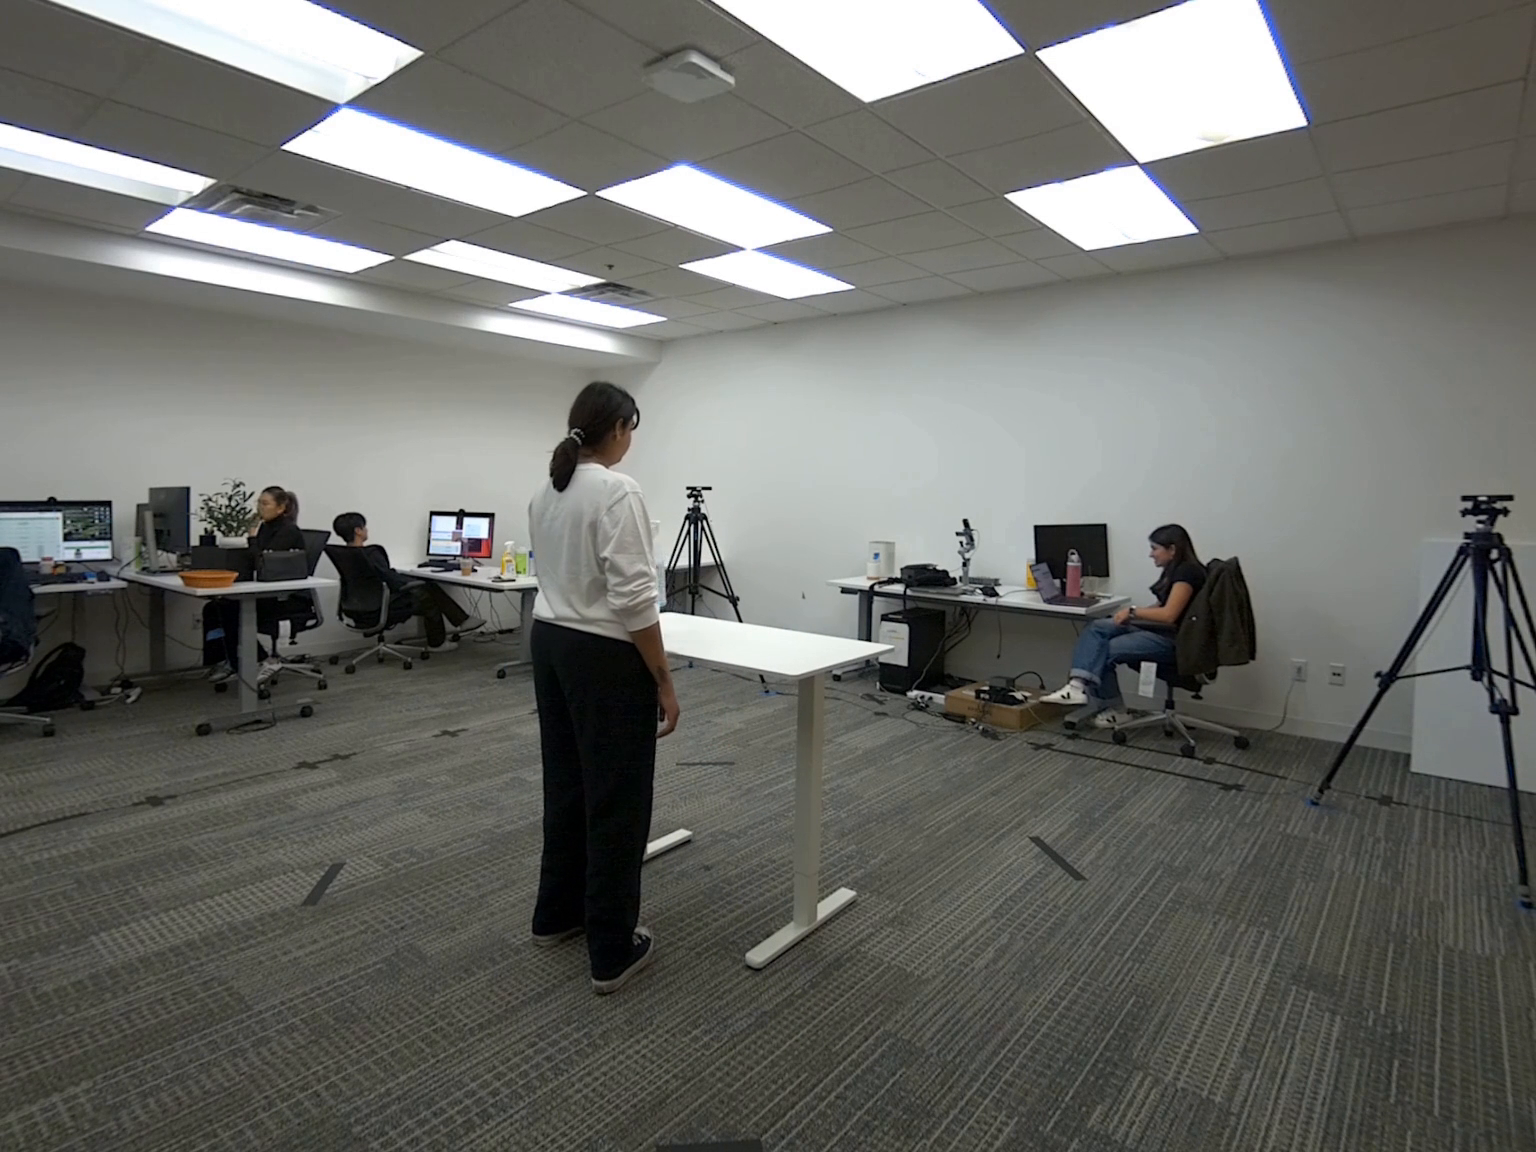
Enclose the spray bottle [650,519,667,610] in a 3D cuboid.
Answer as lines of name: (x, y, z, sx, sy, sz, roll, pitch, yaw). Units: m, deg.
spray bottle: (-0.396, -0.040, 2.916, 0.086, 0.295, 0.092, -4, 9, -13)
